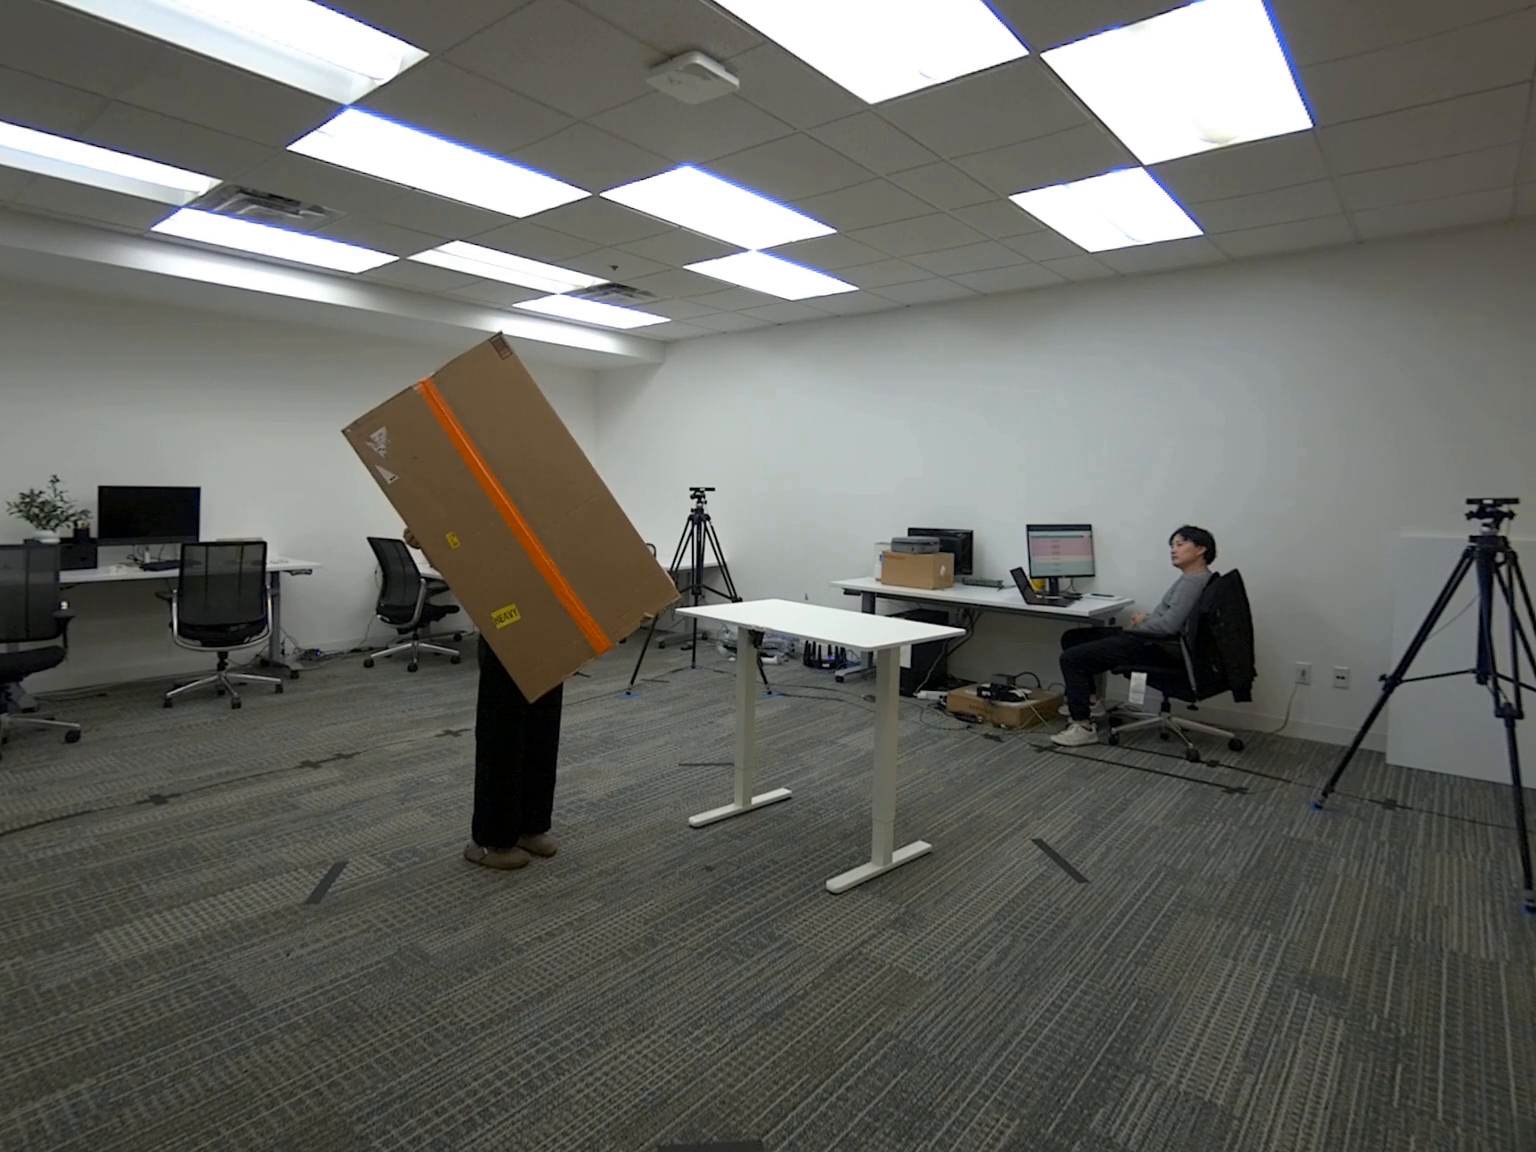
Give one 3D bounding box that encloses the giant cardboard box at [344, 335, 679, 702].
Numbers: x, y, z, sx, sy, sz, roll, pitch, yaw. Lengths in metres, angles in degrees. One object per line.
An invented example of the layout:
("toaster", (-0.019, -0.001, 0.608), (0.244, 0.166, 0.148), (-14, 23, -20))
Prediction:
("giant cardboard box", (-0.840, -0.185, 2.844), (0.576, 1.024, 0.428), (-35, 1, -8))
